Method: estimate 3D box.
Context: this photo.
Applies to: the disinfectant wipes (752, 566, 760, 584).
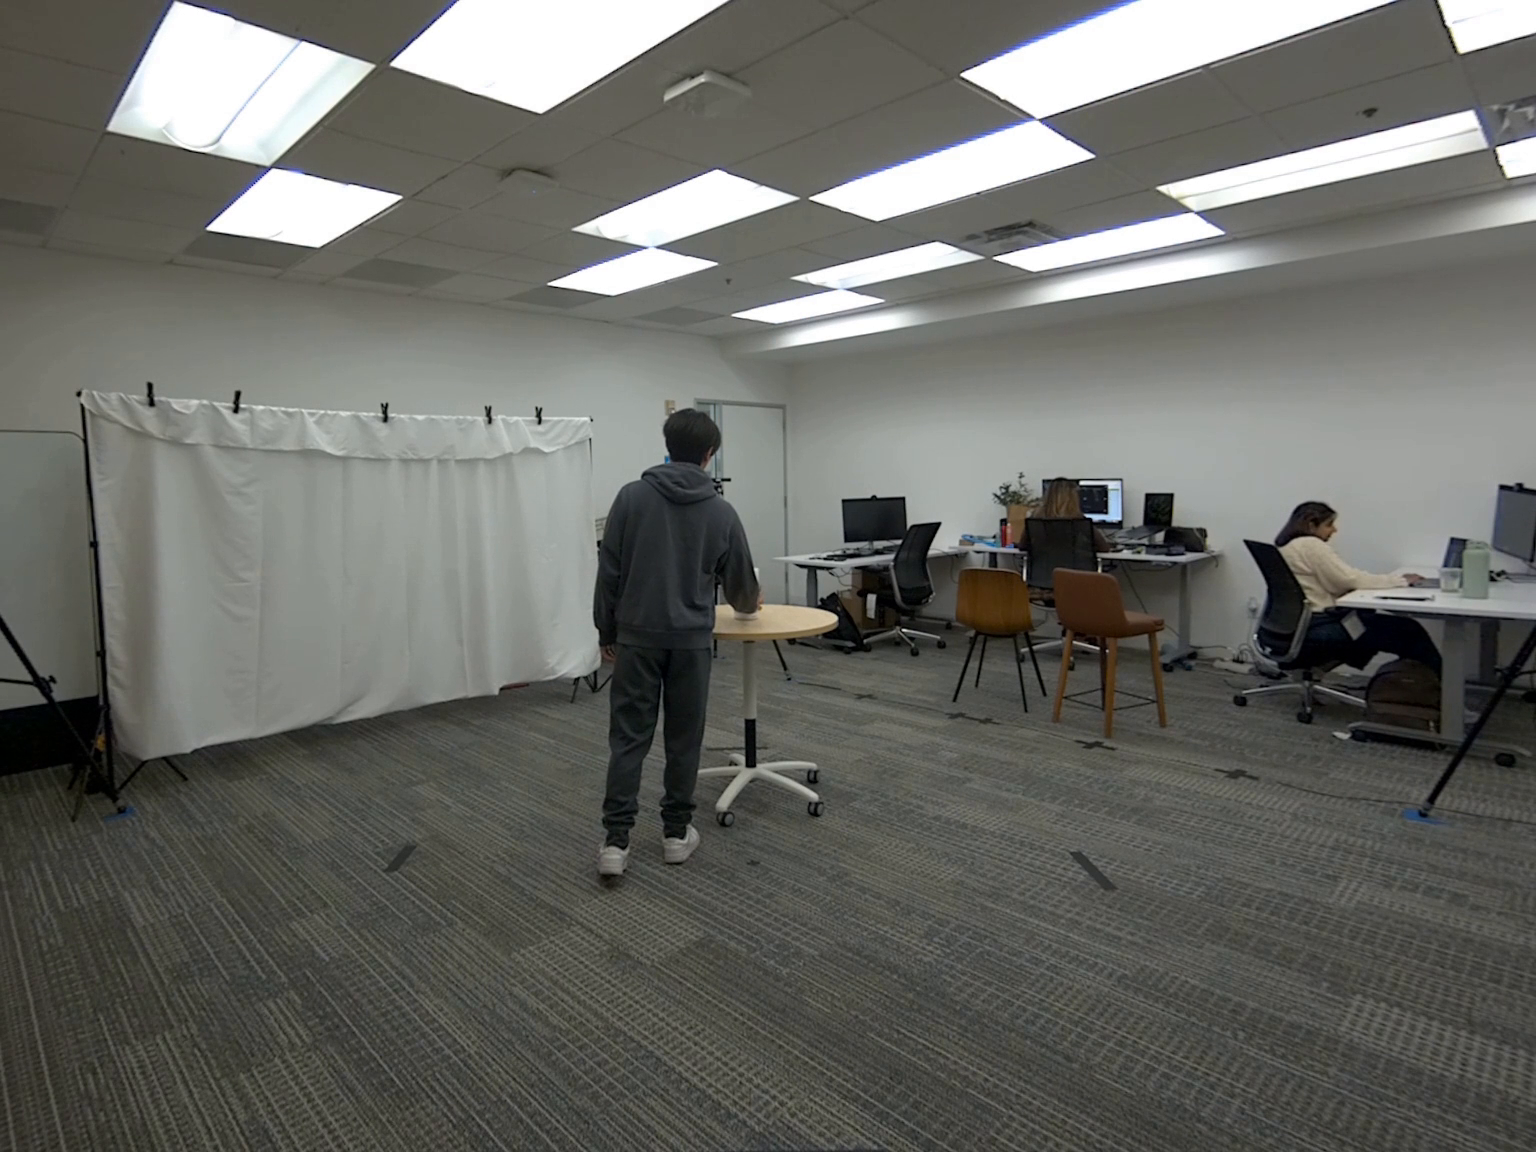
[{"bbox_3d":[-0.088,0.076,3.666,0.118,0.217,0.118,-1,4,-2],"label":"disinfectant wipes"}]
